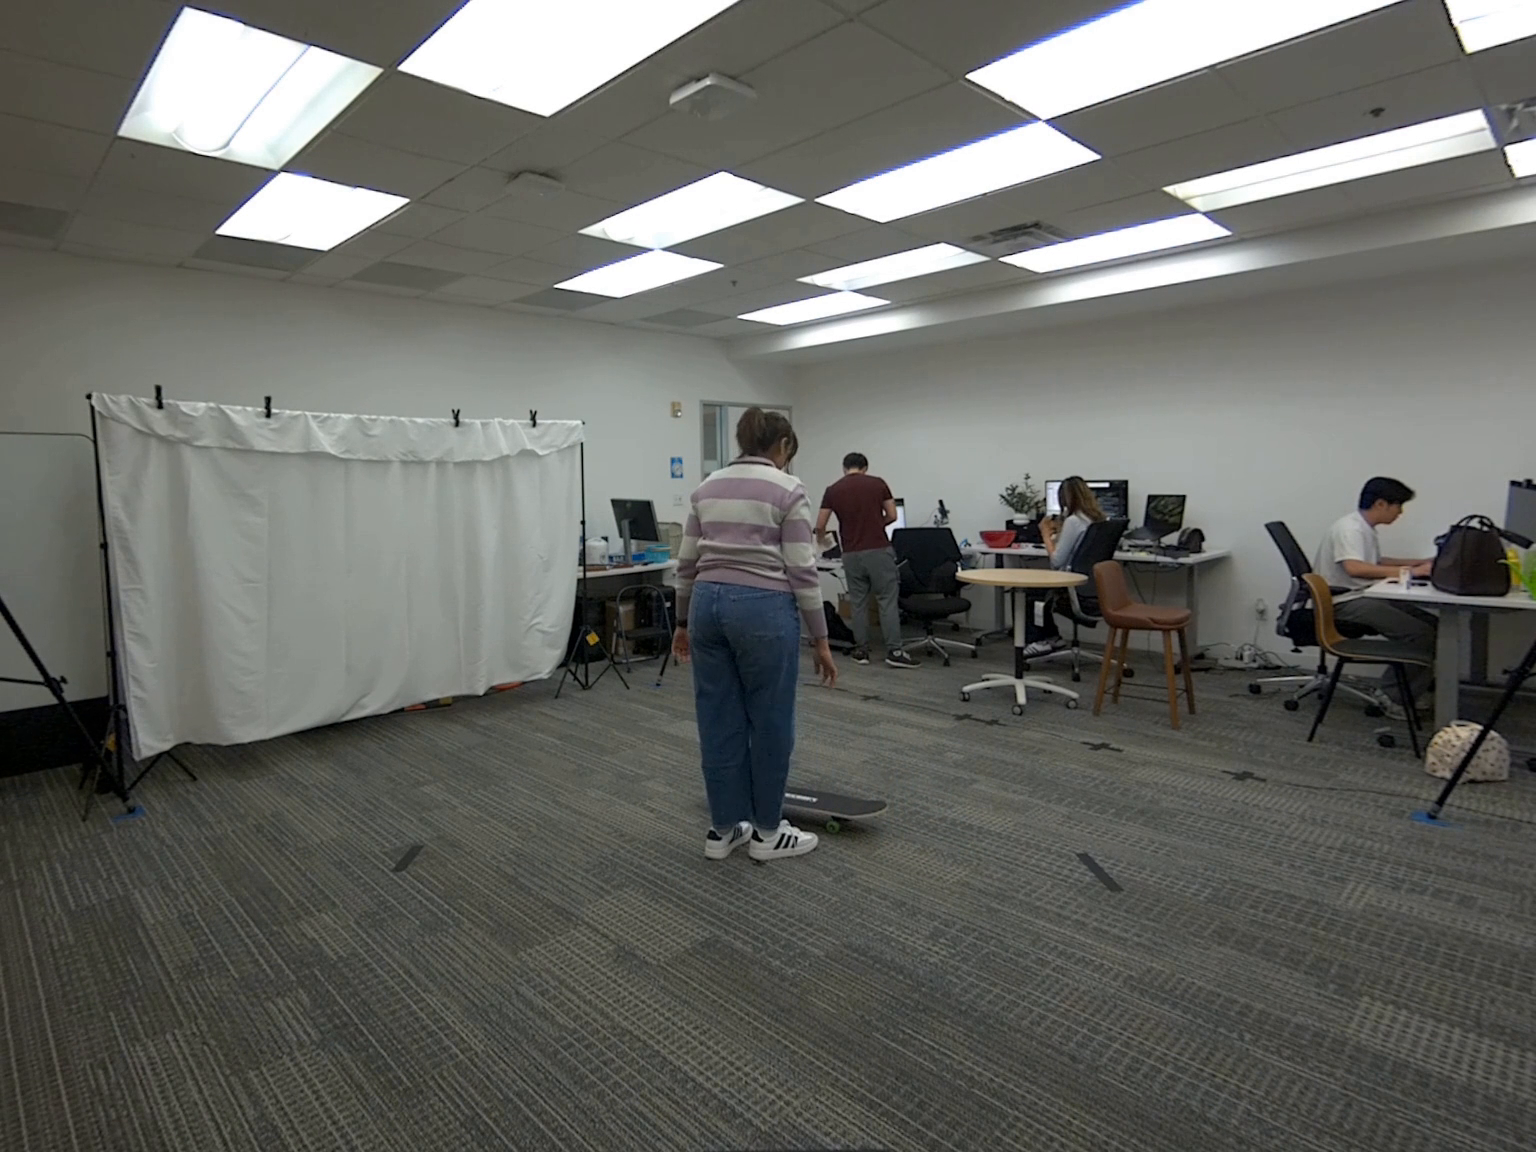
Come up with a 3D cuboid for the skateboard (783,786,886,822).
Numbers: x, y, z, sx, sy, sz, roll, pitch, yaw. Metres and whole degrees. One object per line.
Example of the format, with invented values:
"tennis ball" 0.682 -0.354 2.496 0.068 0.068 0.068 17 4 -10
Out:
"skateboard" 0.108 0.940 3.527 0.804 0.110 0.190 2 7 27
